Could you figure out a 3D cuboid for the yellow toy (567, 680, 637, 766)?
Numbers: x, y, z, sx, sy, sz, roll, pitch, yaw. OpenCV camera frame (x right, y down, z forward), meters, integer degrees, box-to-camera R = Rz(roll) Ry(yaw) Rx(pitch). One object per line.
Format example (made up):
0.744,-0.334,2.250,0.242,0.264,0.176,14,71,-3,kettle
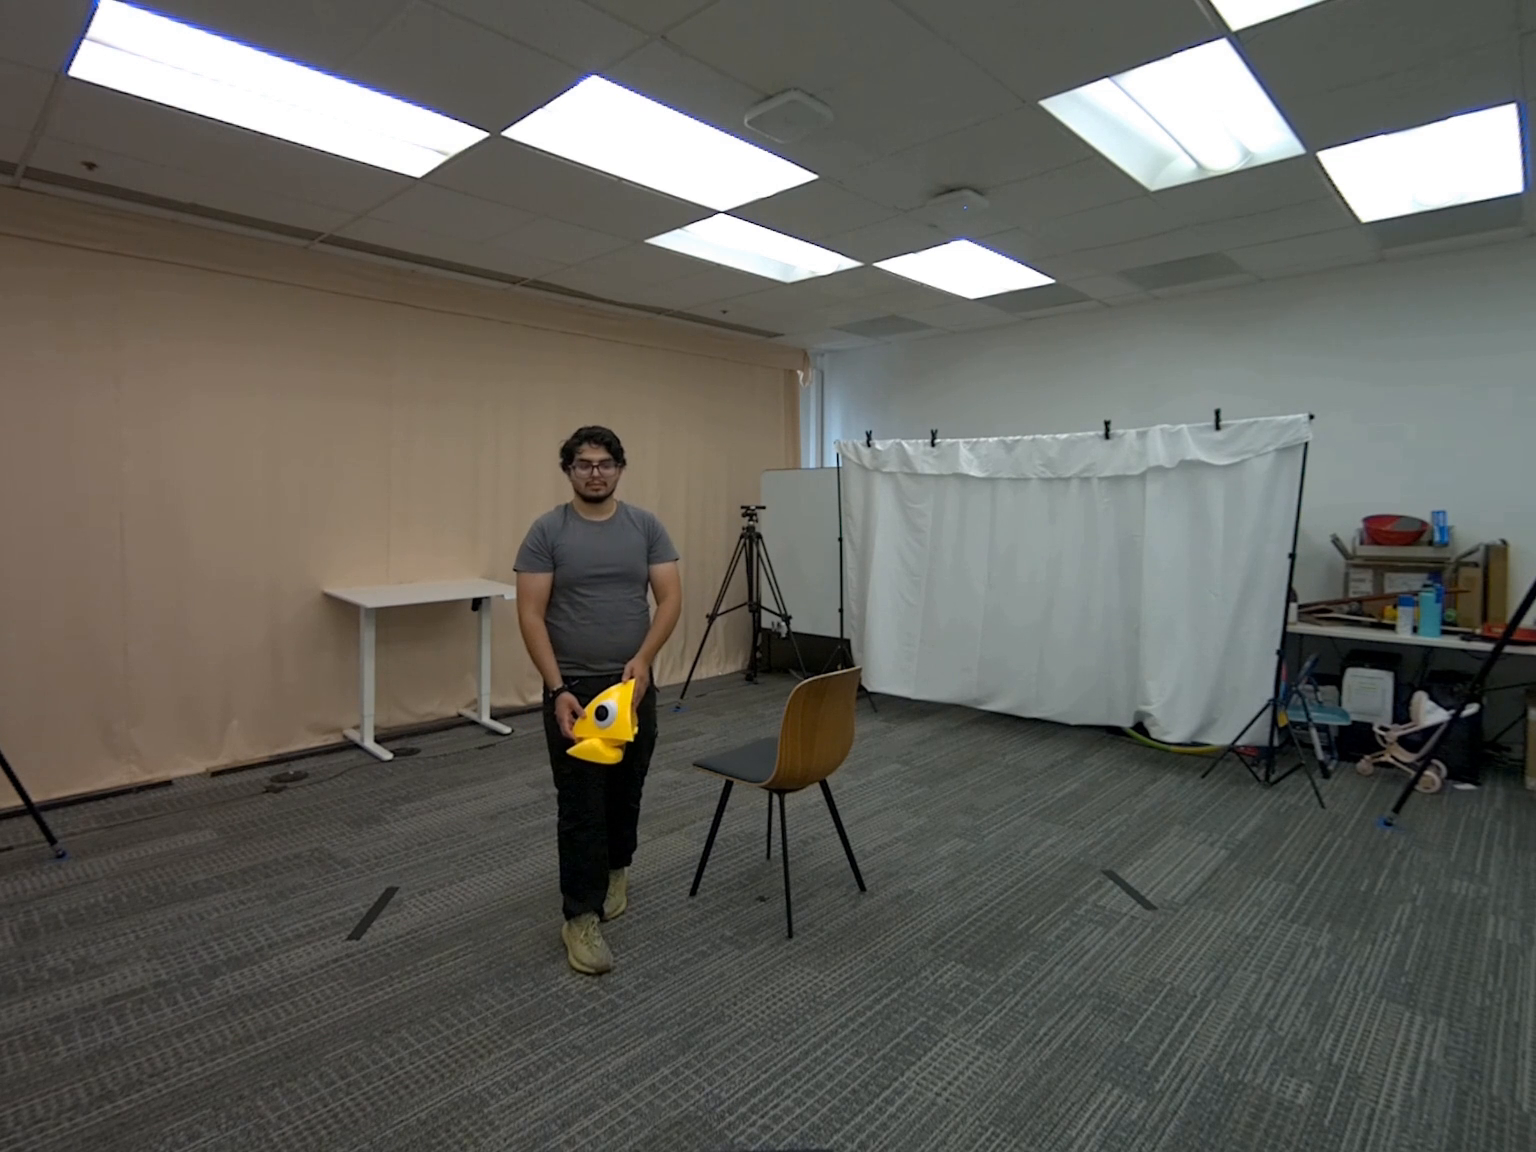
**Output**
-0.473,0.404,2.471,0.192,0.230,0.206,12,4,-4,yellow toy
